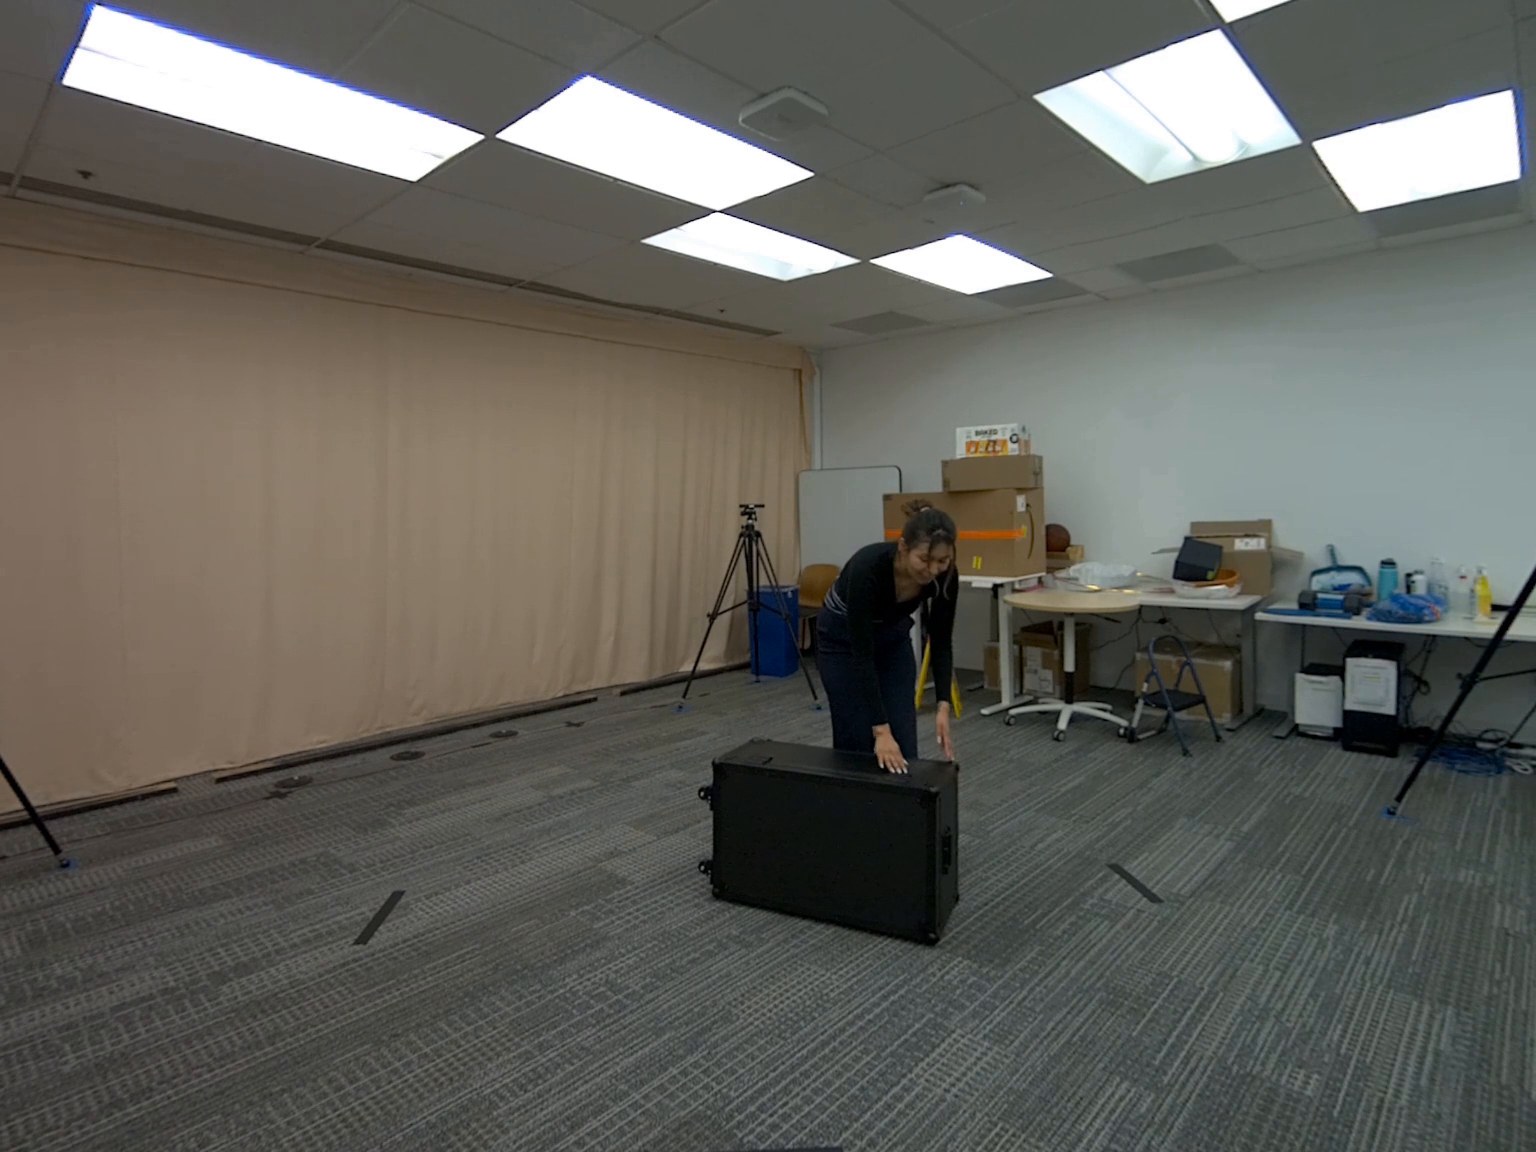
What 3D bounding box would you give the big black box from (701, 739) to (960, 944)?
[{"bbox_3d":[0.211,0.878,2.965,0.884,0.521,0.386,2,2,25],"label":"big black box"}]
